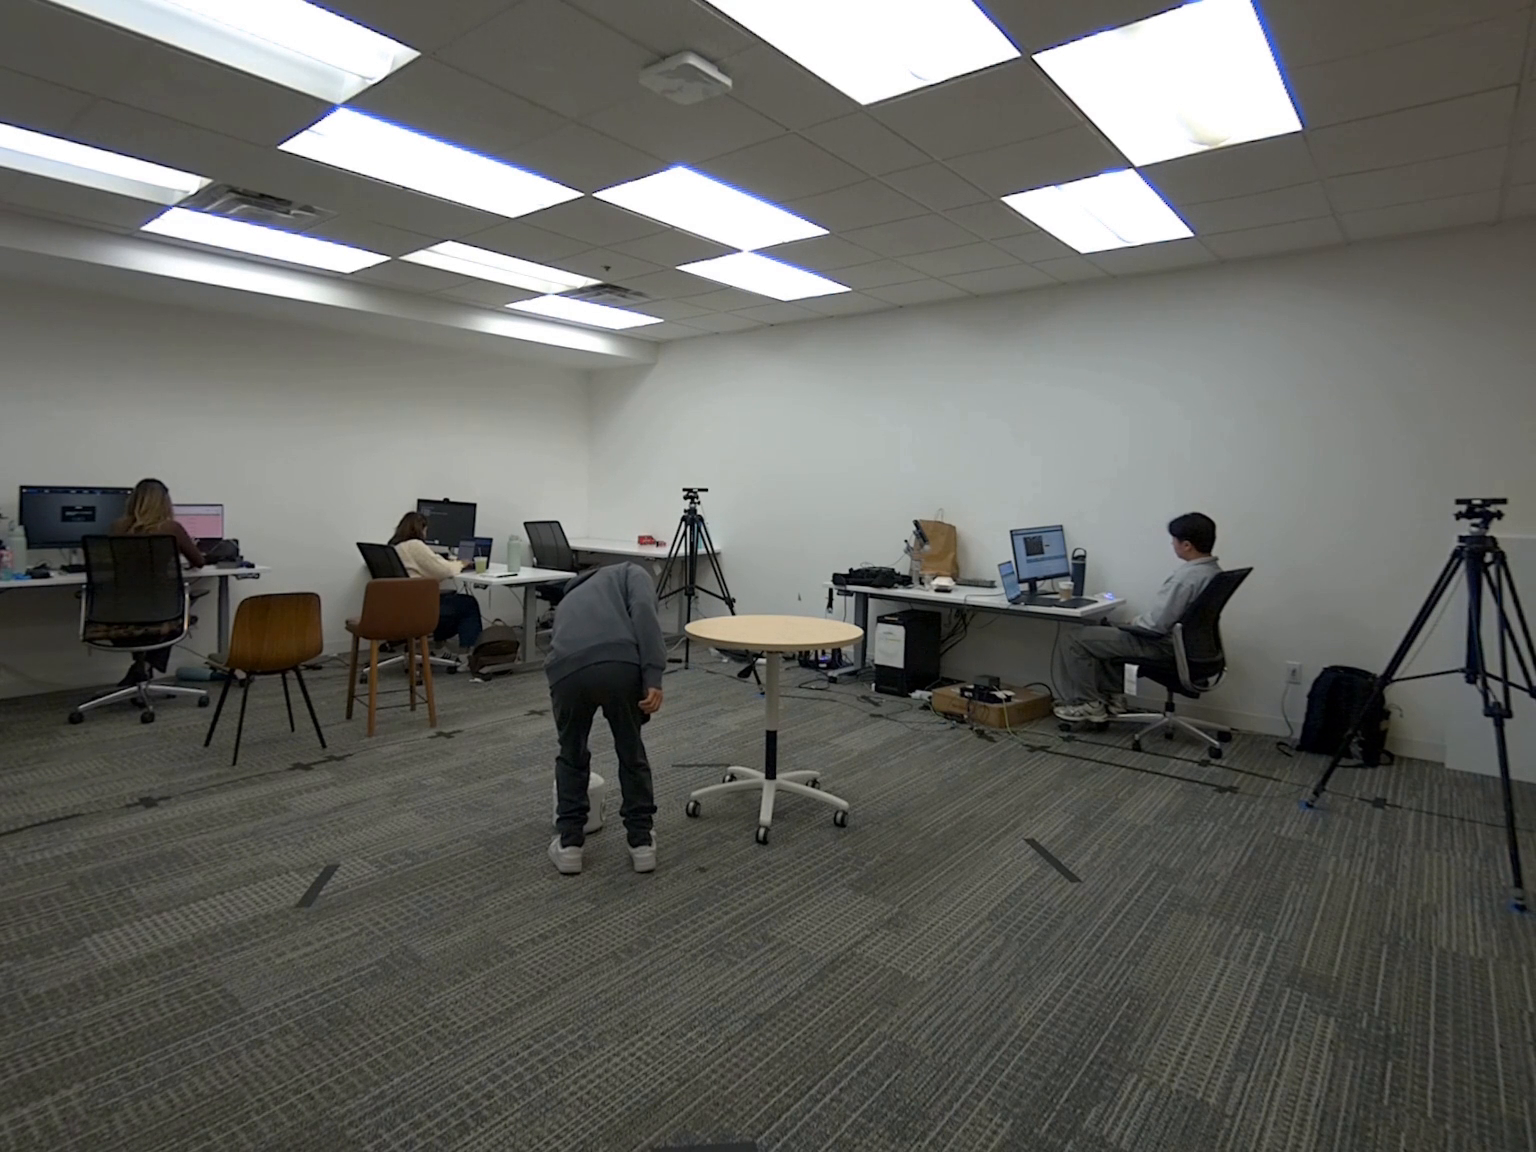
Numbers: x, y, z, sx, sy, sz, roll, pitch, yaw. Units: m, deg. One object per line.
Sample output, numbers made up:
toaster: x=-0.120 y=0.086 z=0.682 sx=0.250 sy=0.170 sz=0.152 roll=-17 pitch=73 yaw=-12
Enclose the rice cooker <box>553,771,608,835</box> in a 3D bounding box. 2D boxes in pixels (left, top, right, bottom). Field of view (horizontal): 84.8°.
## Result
rice cooker: x=-0.776 y=0.905 z=3.477 sx=0.221 sy=0.232 sz=0.218 roll=2 pitch=4 yaw=13
